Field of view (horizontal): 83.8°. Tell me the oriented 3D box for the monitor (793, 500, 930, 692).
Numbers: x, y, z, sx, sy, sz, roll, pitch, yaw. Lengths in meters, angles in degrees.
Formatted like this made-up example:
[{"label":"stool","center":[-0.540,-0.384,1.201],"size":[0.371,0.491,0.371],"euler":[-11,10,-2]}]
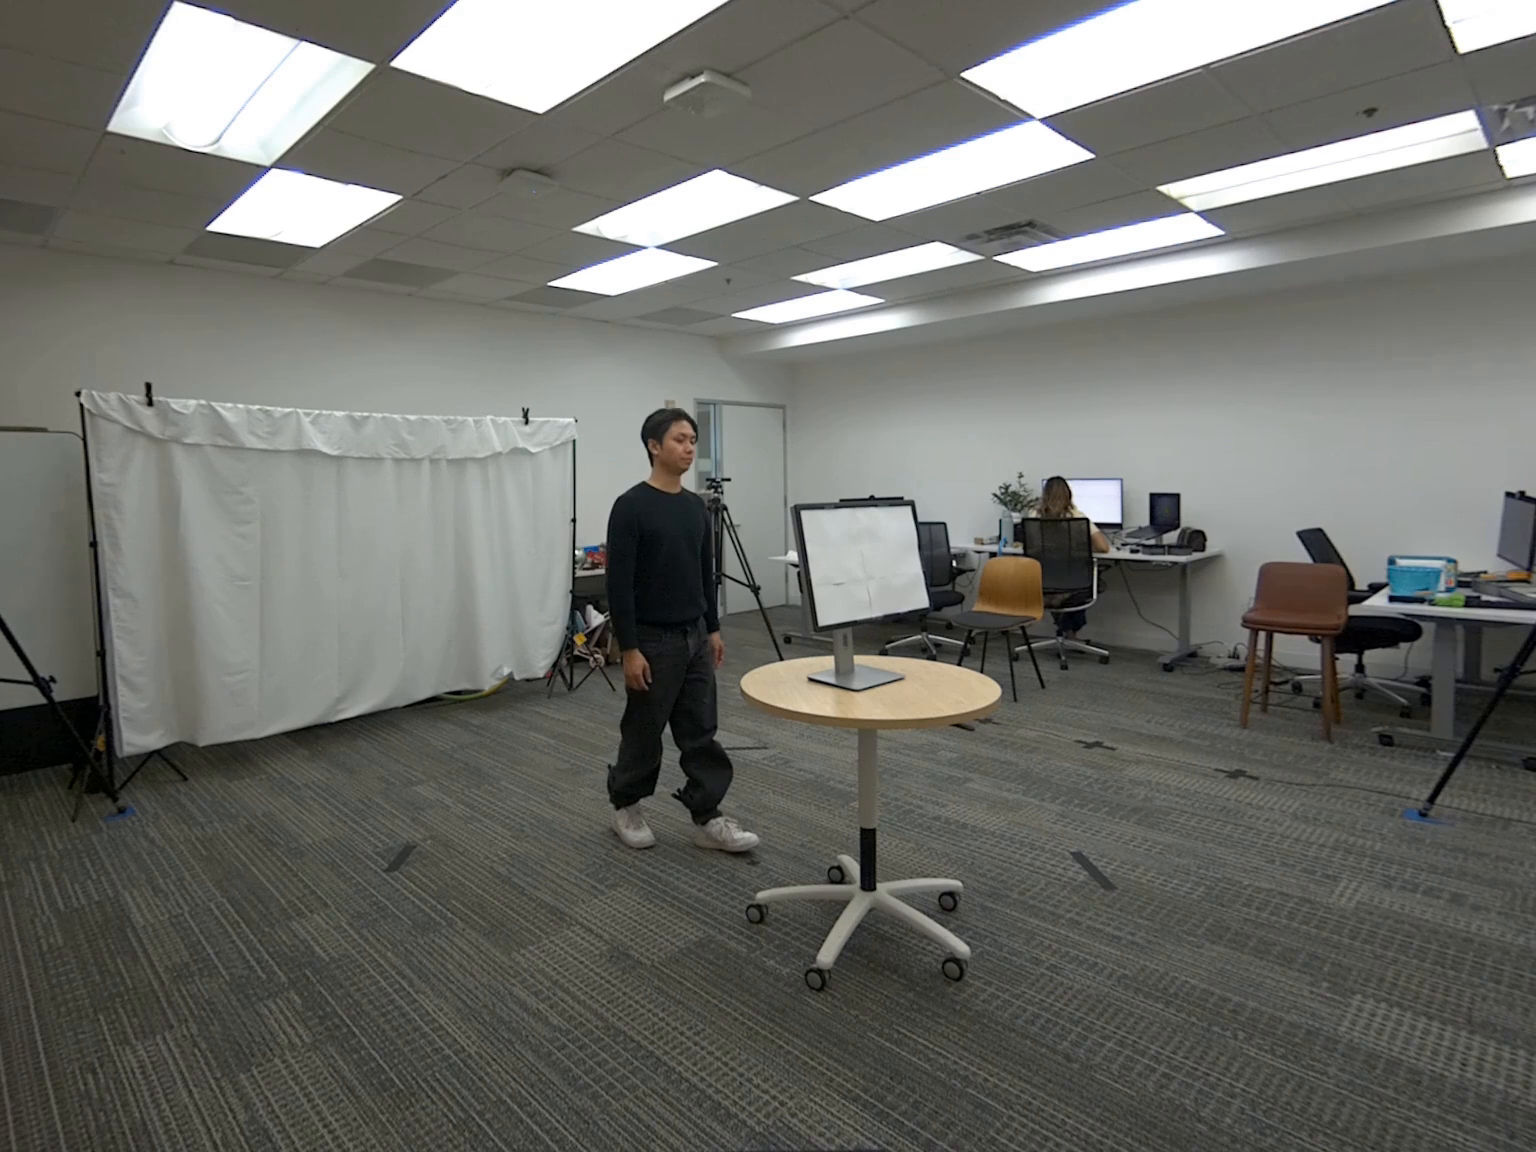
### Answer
[{"label":"monitor","center":[0.277,0.048,2.586],"size":[0.515,0.513,0.180],"euler":[-3,9,-45]}]
